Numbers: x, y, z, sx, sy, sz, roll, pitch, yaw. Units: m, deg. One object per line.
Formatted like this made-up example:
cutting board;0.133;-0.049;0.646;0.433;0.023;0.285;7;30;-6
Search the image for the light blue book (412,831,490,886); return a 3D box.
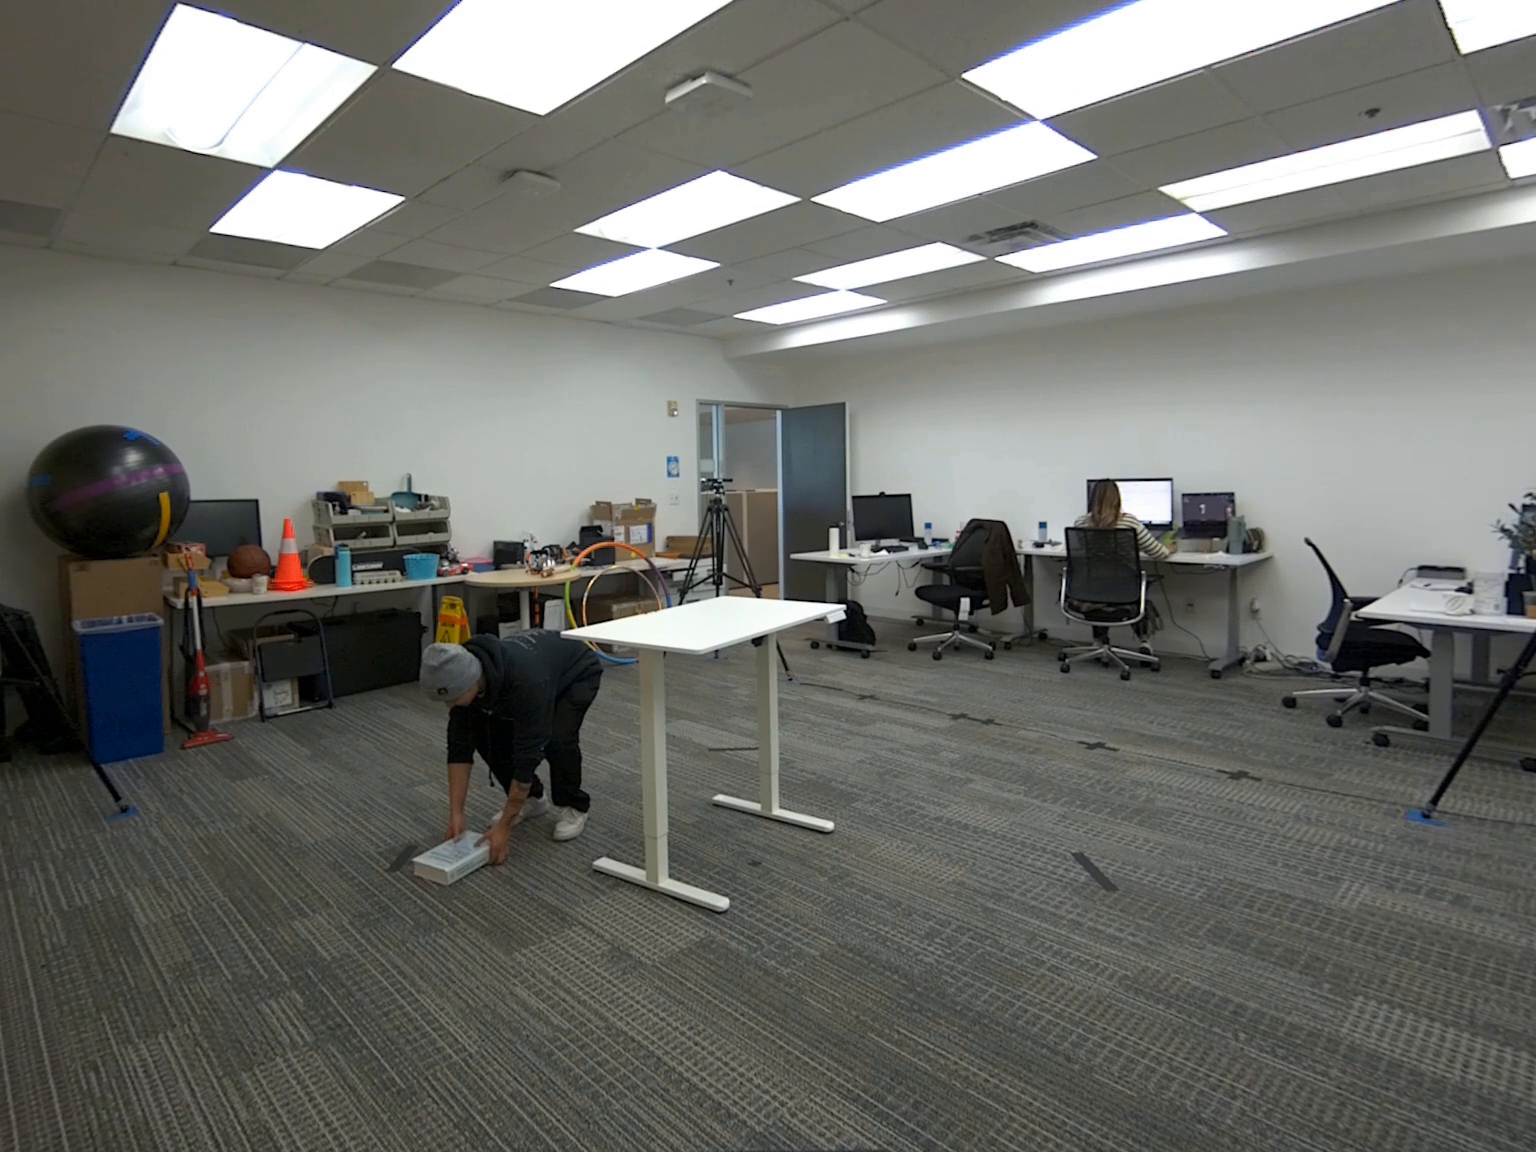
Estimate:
light blue book;-1.135;1.033;3.131;0.196;0.058;0.256;1;9;31
